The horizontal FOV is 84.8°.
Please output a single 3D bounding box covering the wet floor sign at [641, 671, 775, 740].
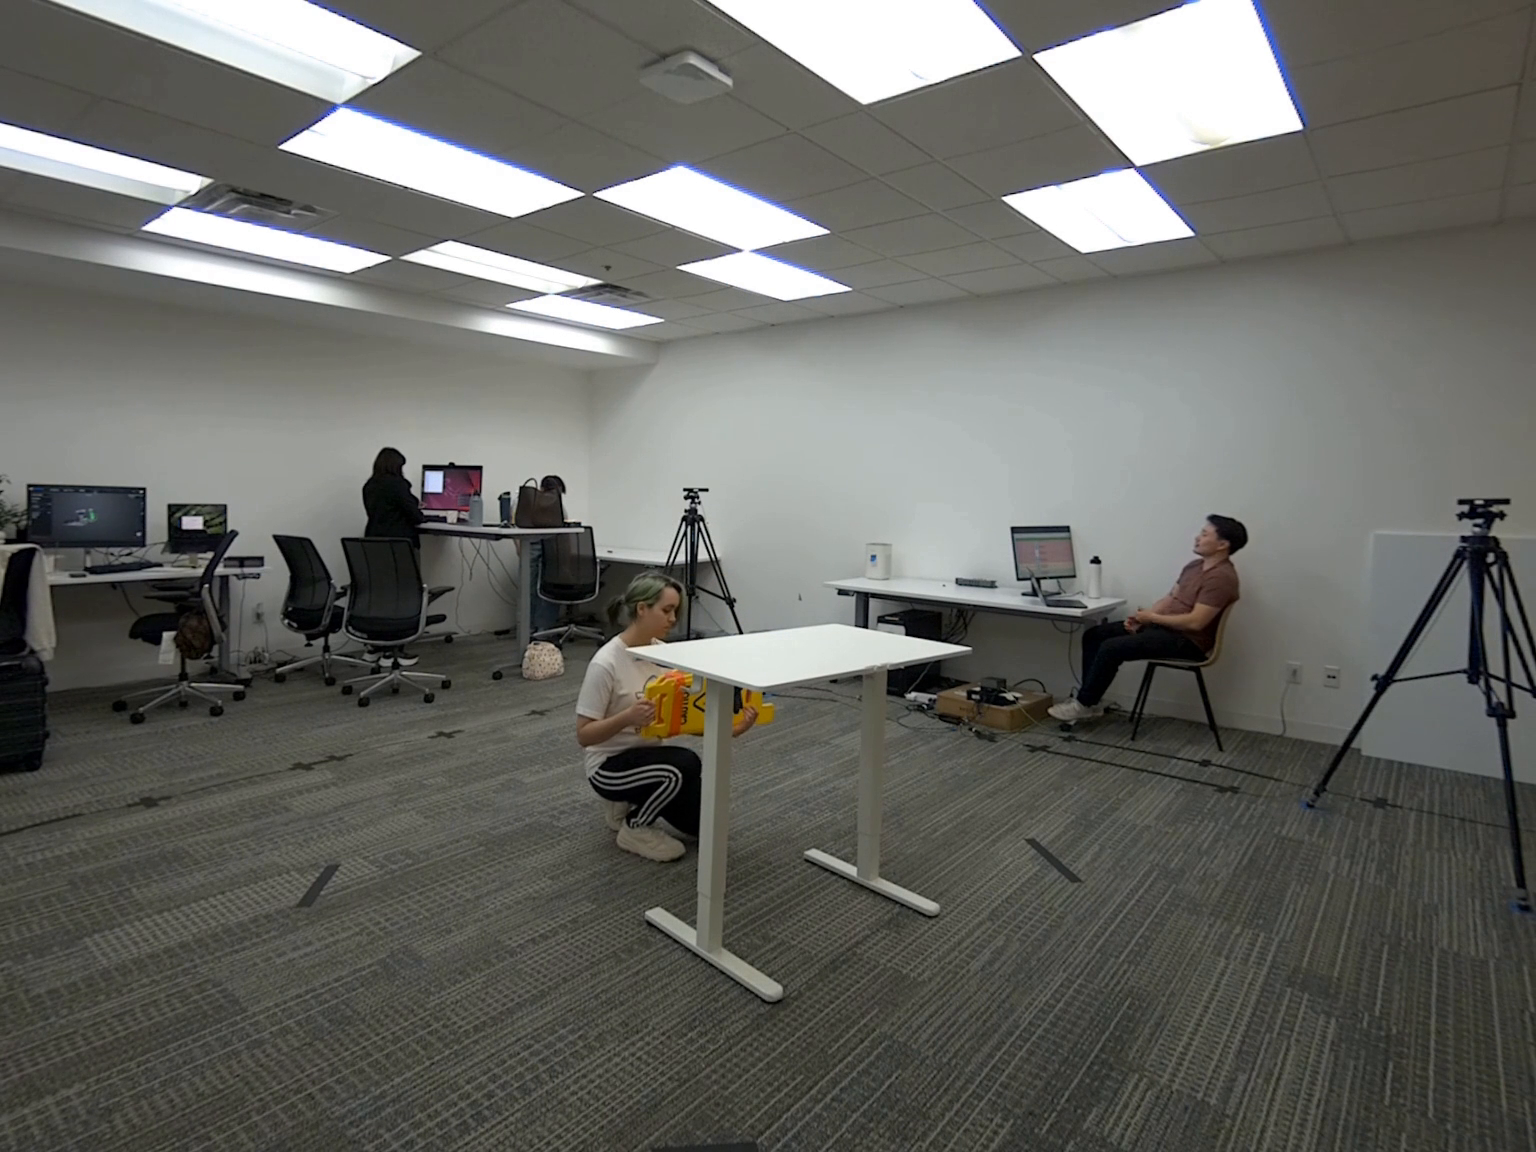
[{"bbox_3d":[-0.261,0.467,3.314,0.300,0.280,0.628,12,12,36],"label":"wet floor sign"}]
